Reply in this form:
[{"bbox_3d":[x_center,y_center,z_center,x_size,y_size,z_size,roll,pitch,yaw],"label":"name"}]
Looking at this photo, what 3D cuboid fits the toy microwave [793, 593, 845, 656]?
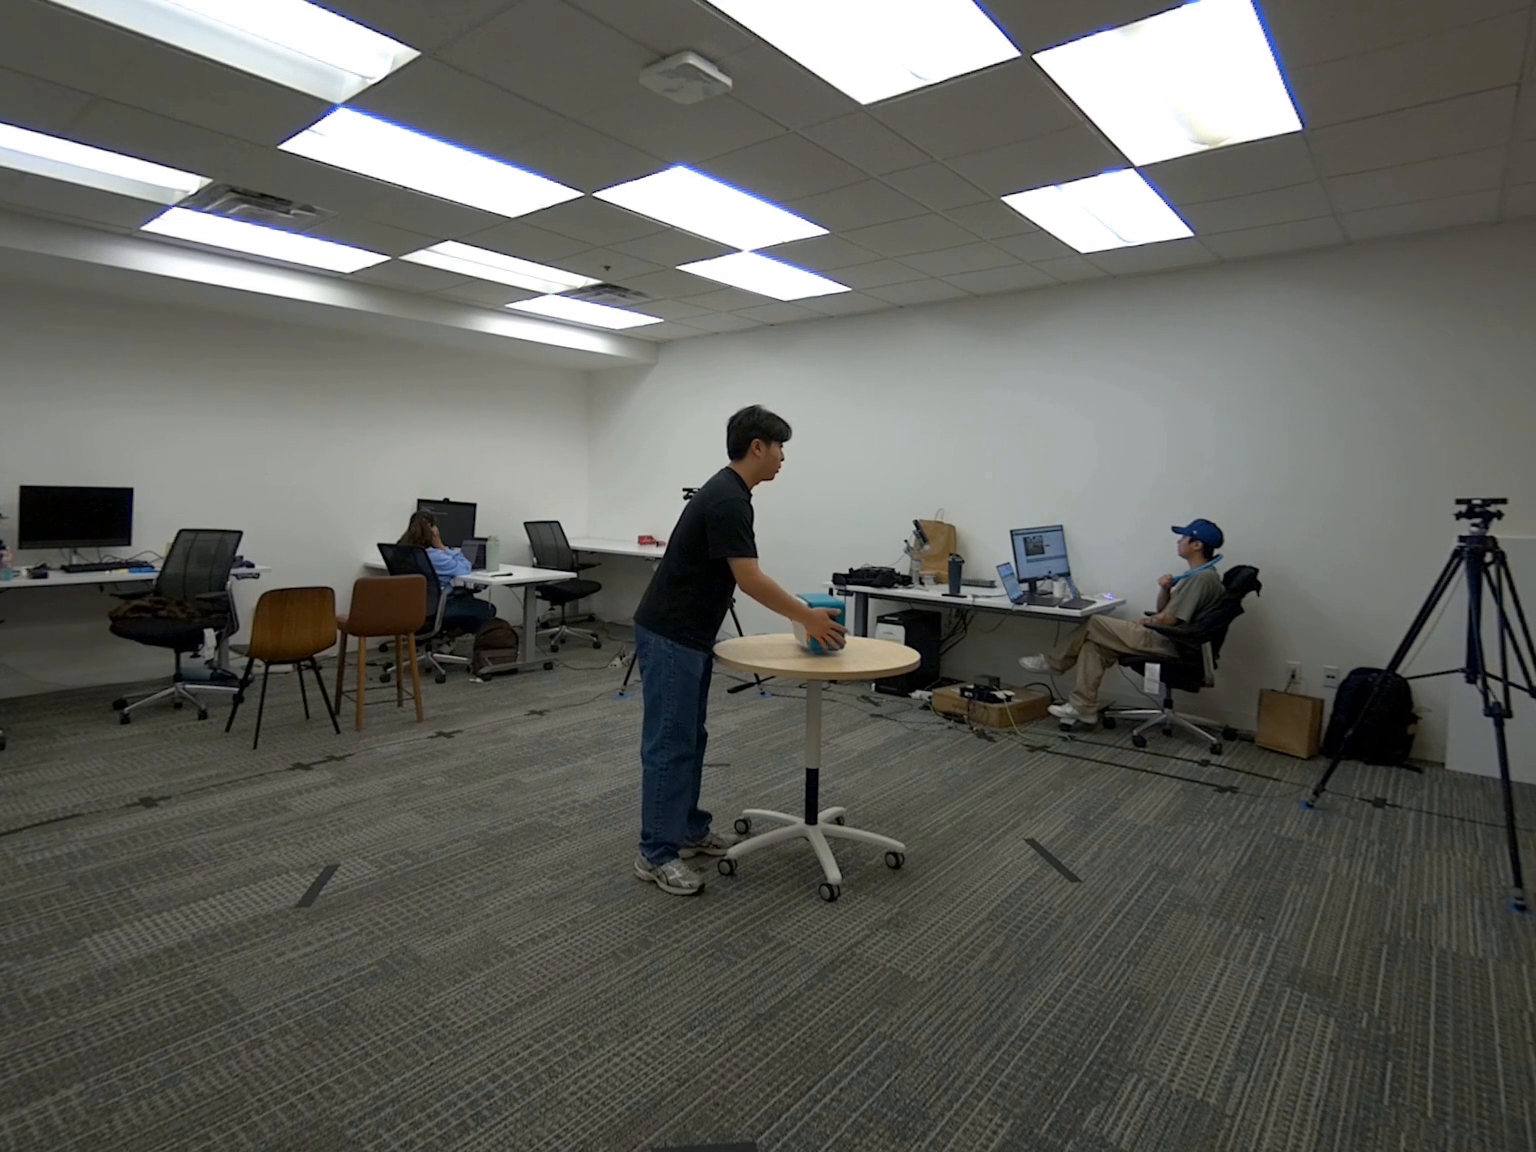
[{"bbox_3d":[0.173,0.172,3.179,0.151,0.183,0.290,-2,6,-10],"label":"toy microwave"}]
